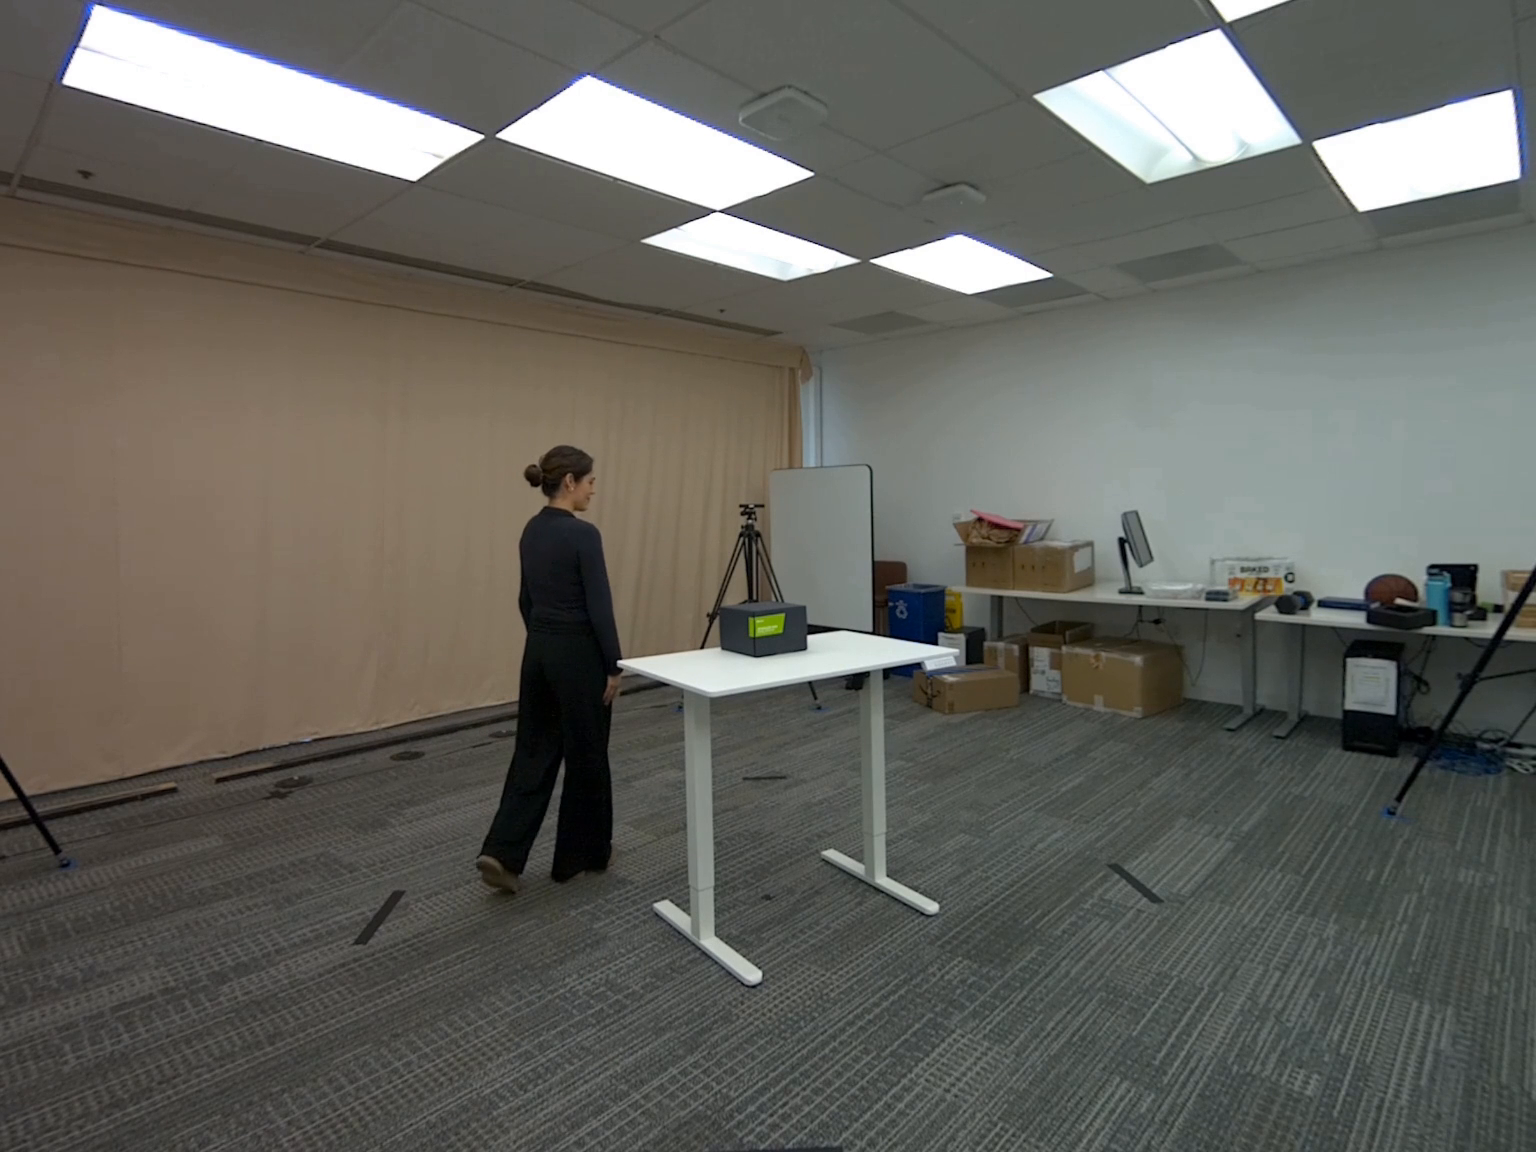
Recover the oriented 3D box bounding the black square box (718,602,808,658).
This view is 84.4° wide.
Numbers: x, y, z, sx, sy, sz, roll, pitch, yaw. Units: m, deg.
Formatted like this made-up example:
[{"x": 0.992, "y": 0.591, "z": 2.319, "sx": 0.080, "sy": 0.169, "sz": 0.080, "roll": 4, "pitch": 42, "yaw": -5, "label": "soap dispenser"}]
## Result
[{"x": -0.008, "y": 0.183, "z": 2.950, "sx": 0.221, "sy": 0.155, "sz": 0.223, "roll": -3, "pitch": 5, "yaw": -33, "label": "black square box"}]
